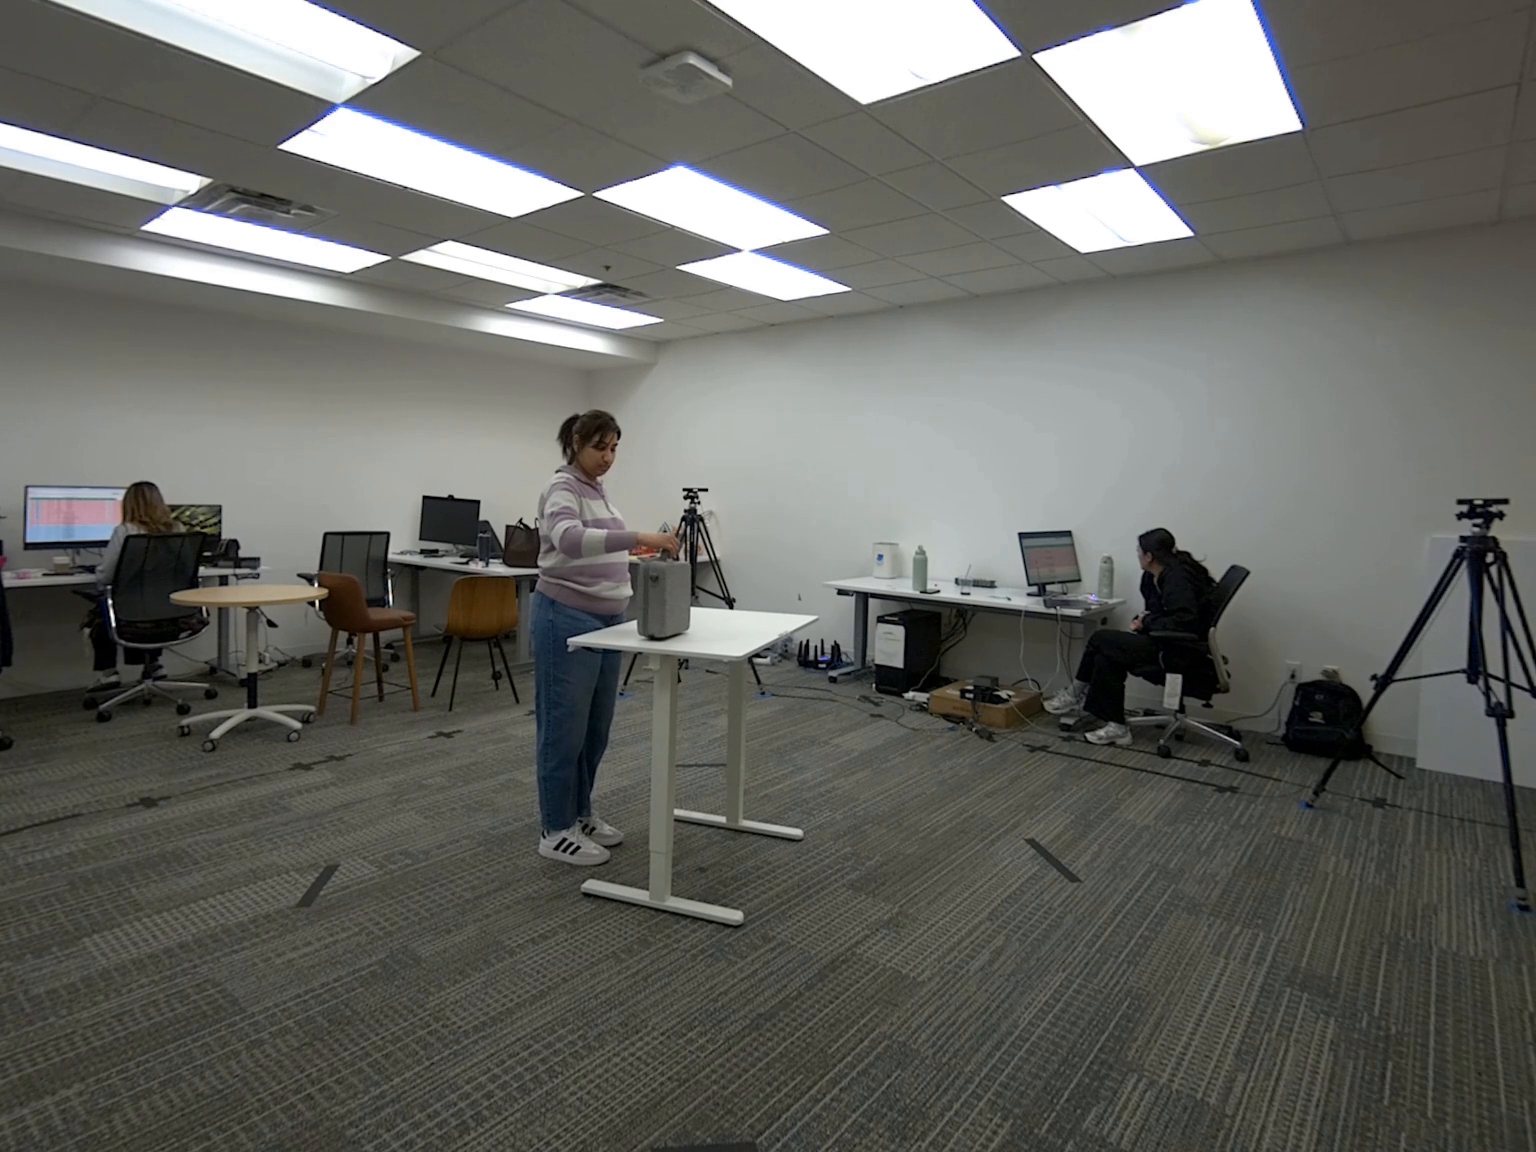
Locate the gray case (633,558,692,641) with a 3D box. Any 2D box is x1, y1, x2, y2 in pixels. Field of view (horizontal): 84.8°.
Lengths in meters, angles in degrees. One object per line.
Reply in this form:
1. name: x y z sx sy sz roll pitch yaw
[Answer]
1. gray case: -0.357 0.068 2.891 0.106 0.260 0.253 2 2 16
